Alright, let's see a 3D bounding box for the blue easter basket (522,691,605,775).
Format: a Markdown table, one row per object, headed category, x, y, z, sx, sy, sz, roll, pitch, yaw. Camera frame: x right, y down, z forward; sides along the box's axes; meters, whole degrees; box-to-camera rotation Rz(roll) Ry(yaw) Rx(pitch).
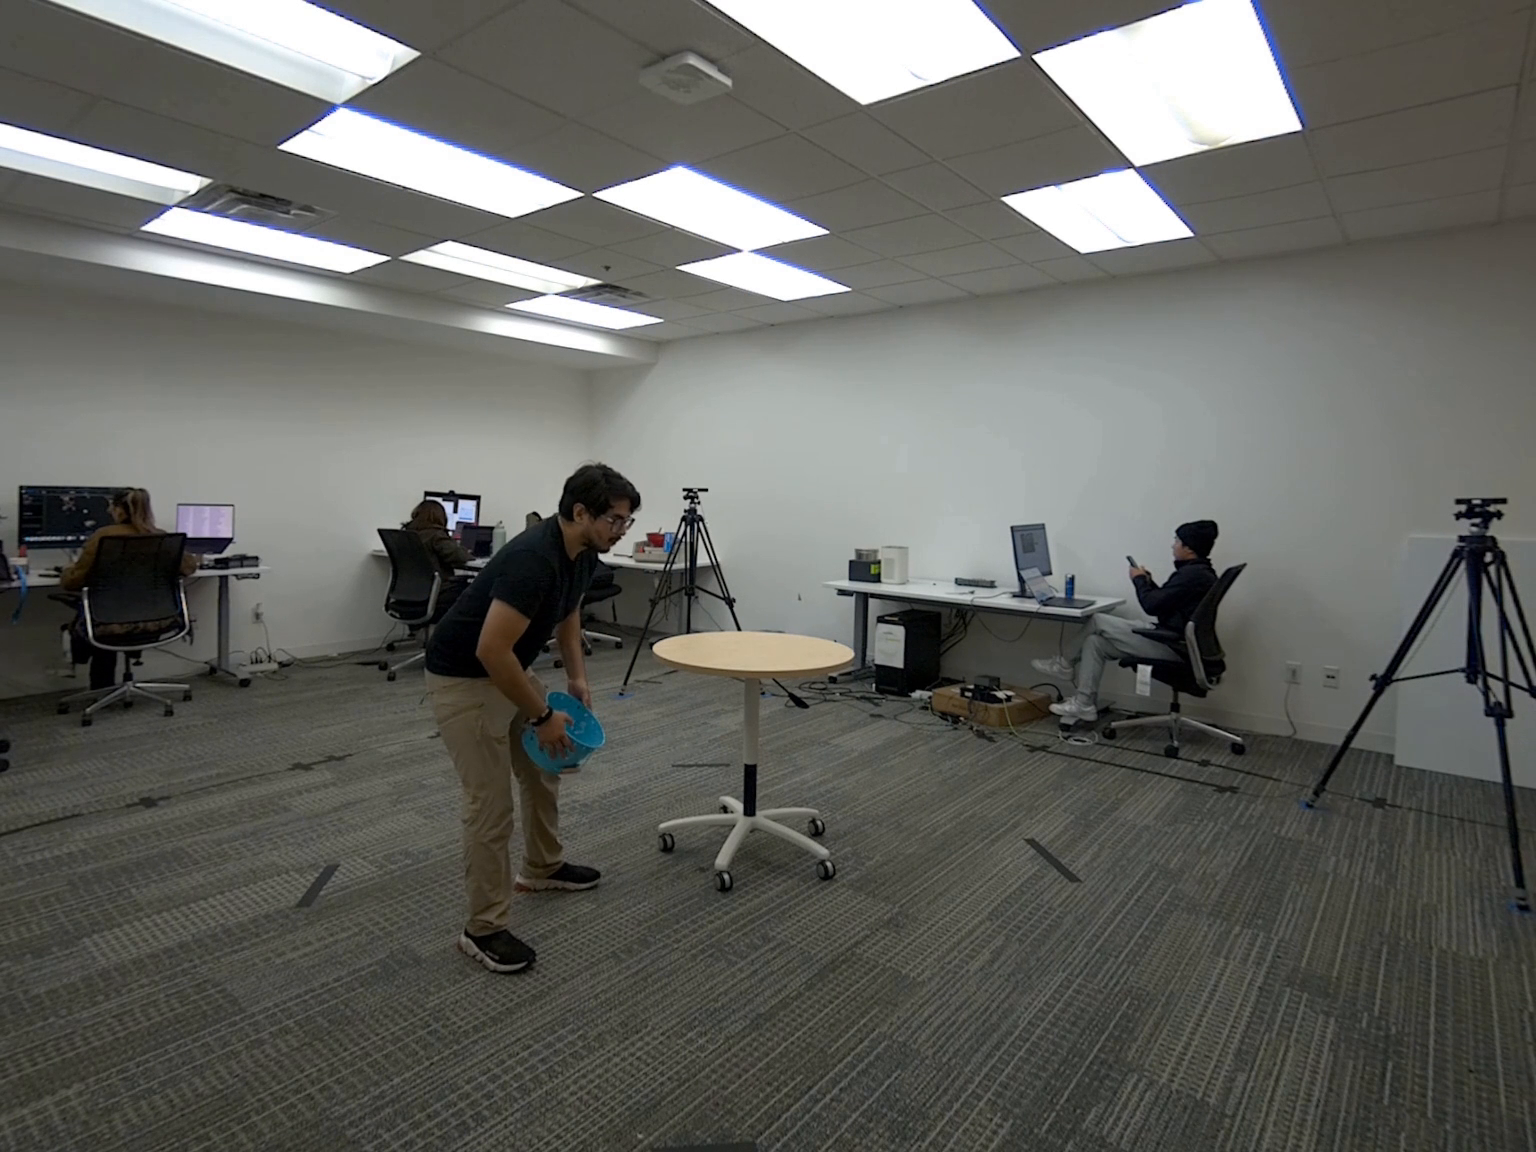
| category | x | y | z | sx | sy | sz | roll | pitch | yaw |
| --- | --- | --- | --- | --- | --- | --- | --- | --- | --- |
| blue easter basket | -0.653 | 0.497 | 2.622 | 0.240 | 0.156 | 0.247 | 41 | 9 | -11 |
